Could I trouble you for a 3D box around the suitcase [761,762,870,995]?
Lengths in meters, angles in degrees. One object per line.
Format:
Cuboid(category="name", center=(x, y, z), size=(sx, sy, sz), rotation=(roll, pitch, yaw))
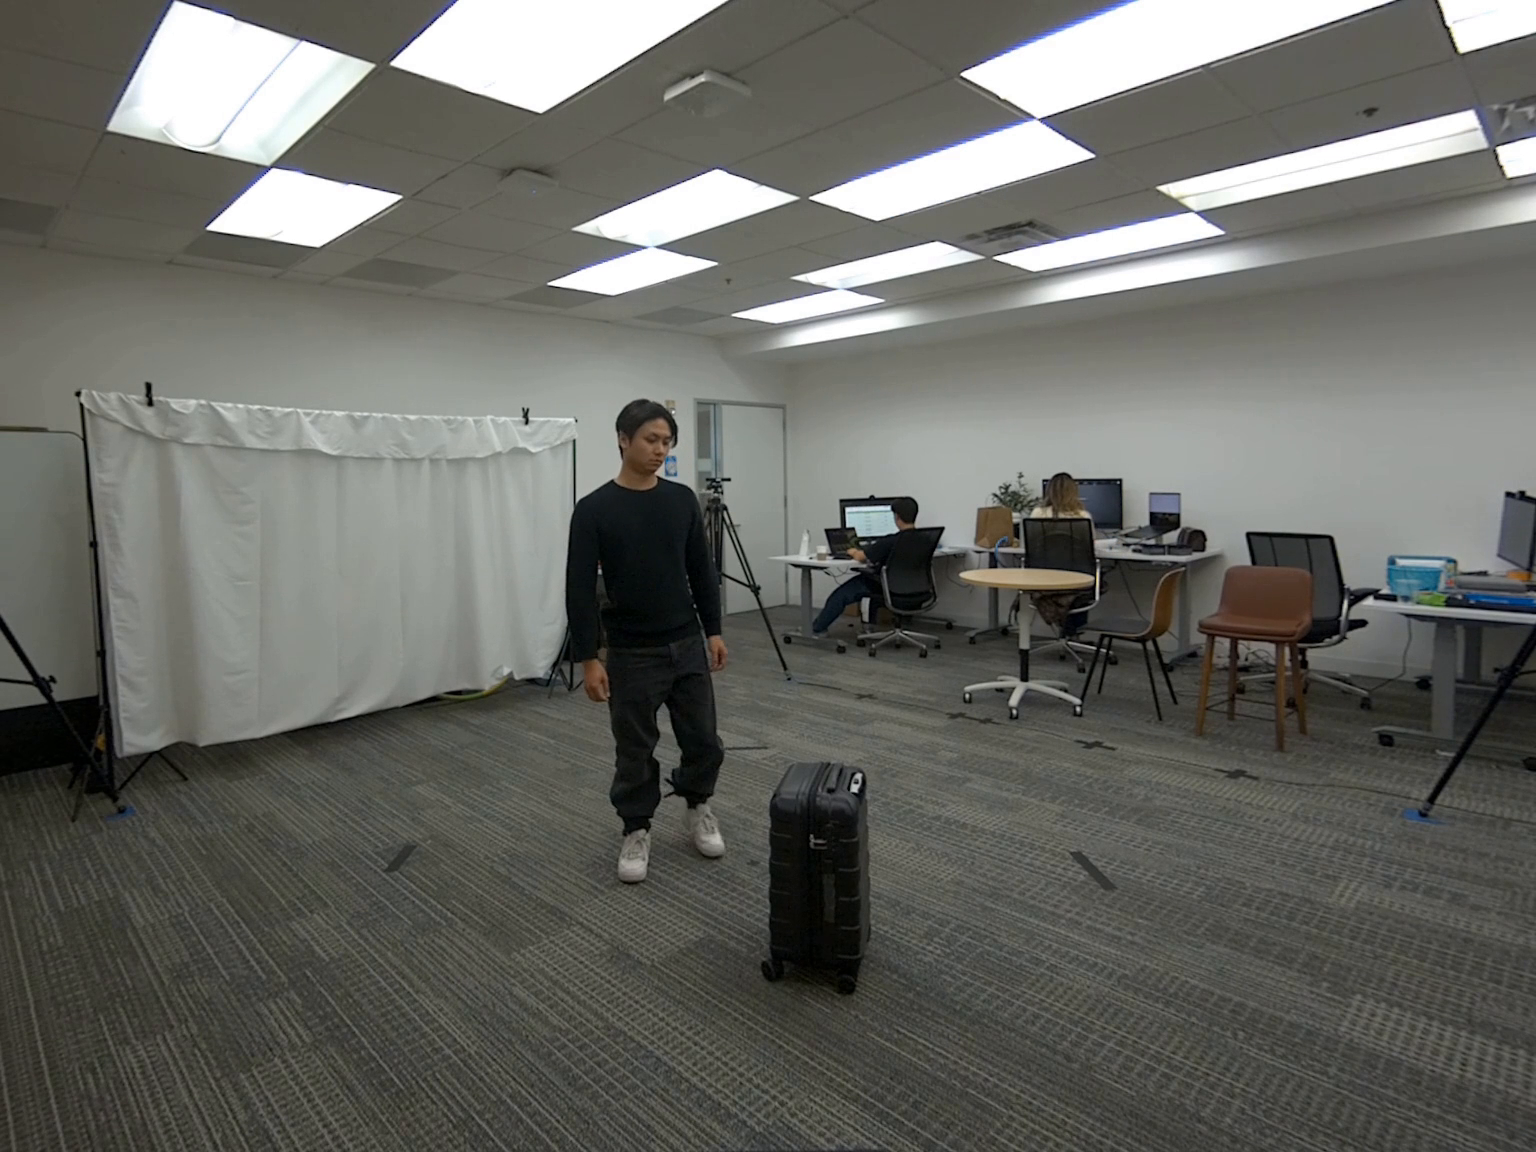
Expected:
Cuboid(category="suitcase", center=(0.161, 0.837, 2.463), size=(0.252, 0.547, 0.372), rotation=(-1, 5, 13))
